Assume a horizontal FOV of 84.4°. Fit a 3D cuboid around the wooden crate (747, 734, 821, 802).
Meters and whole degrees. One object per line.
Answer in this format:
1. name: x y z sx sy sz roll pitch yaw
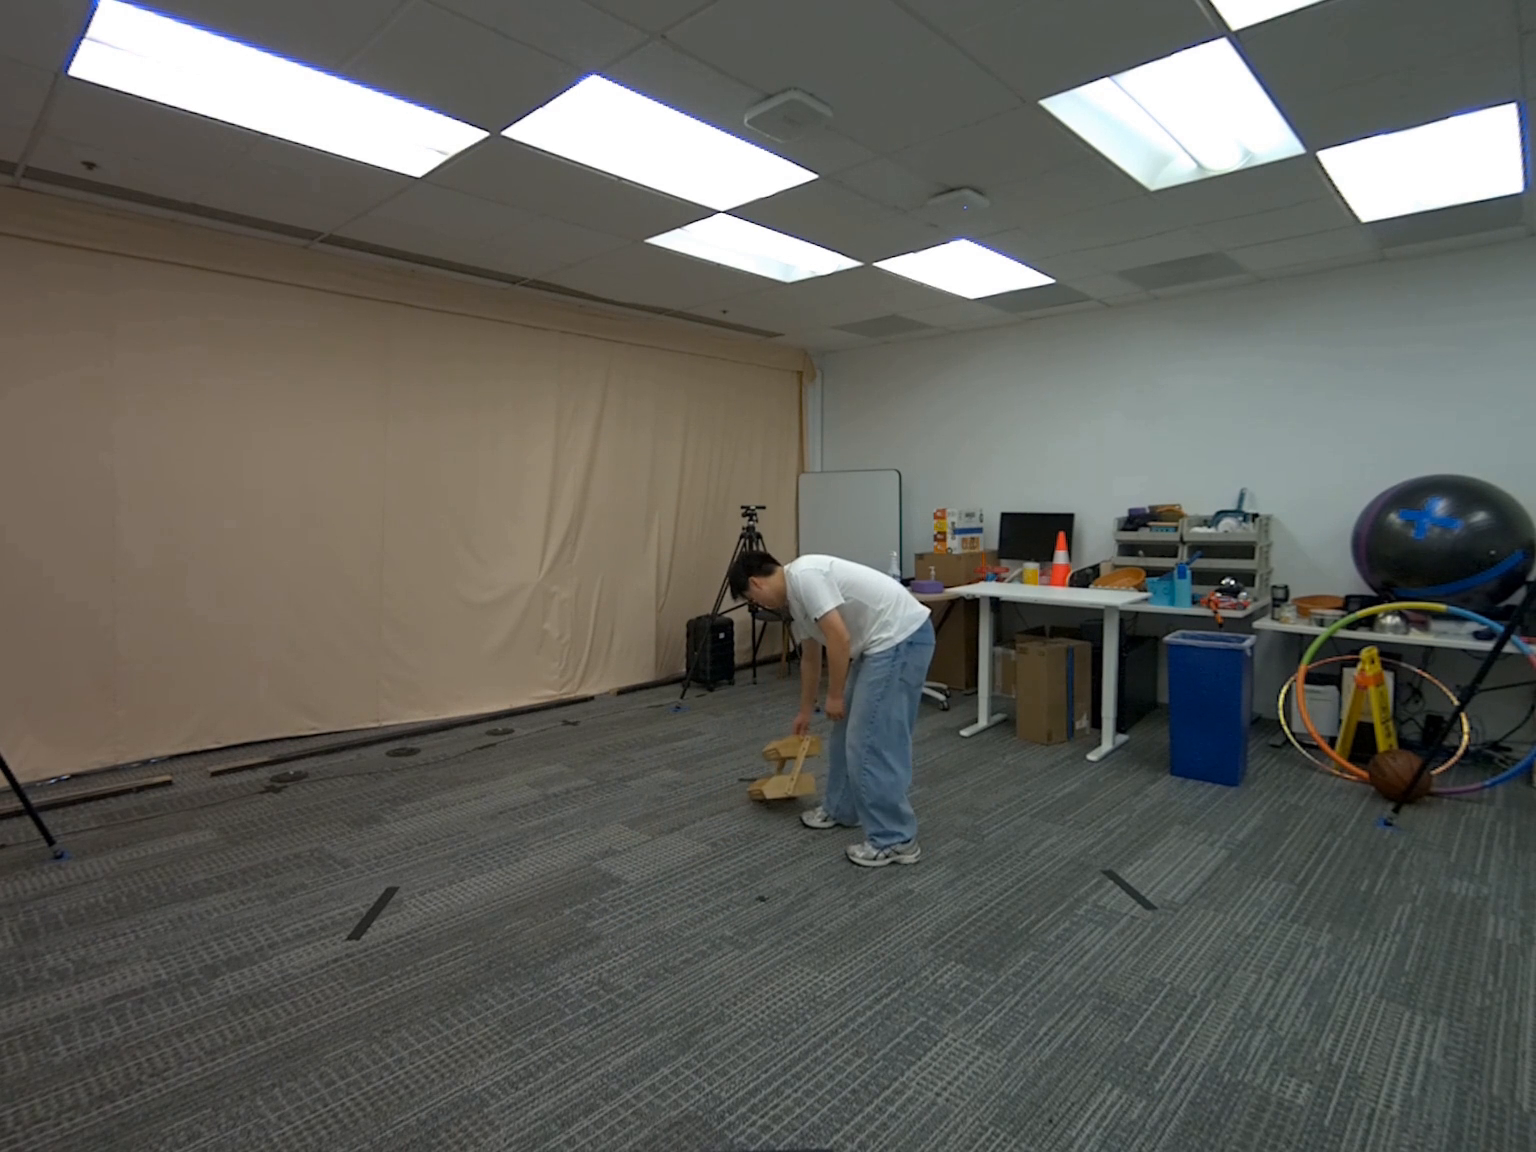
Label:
1. wooden crate: 0.059 0.890 3.934 0.299 0.276 0.324 -1 -14 -10
